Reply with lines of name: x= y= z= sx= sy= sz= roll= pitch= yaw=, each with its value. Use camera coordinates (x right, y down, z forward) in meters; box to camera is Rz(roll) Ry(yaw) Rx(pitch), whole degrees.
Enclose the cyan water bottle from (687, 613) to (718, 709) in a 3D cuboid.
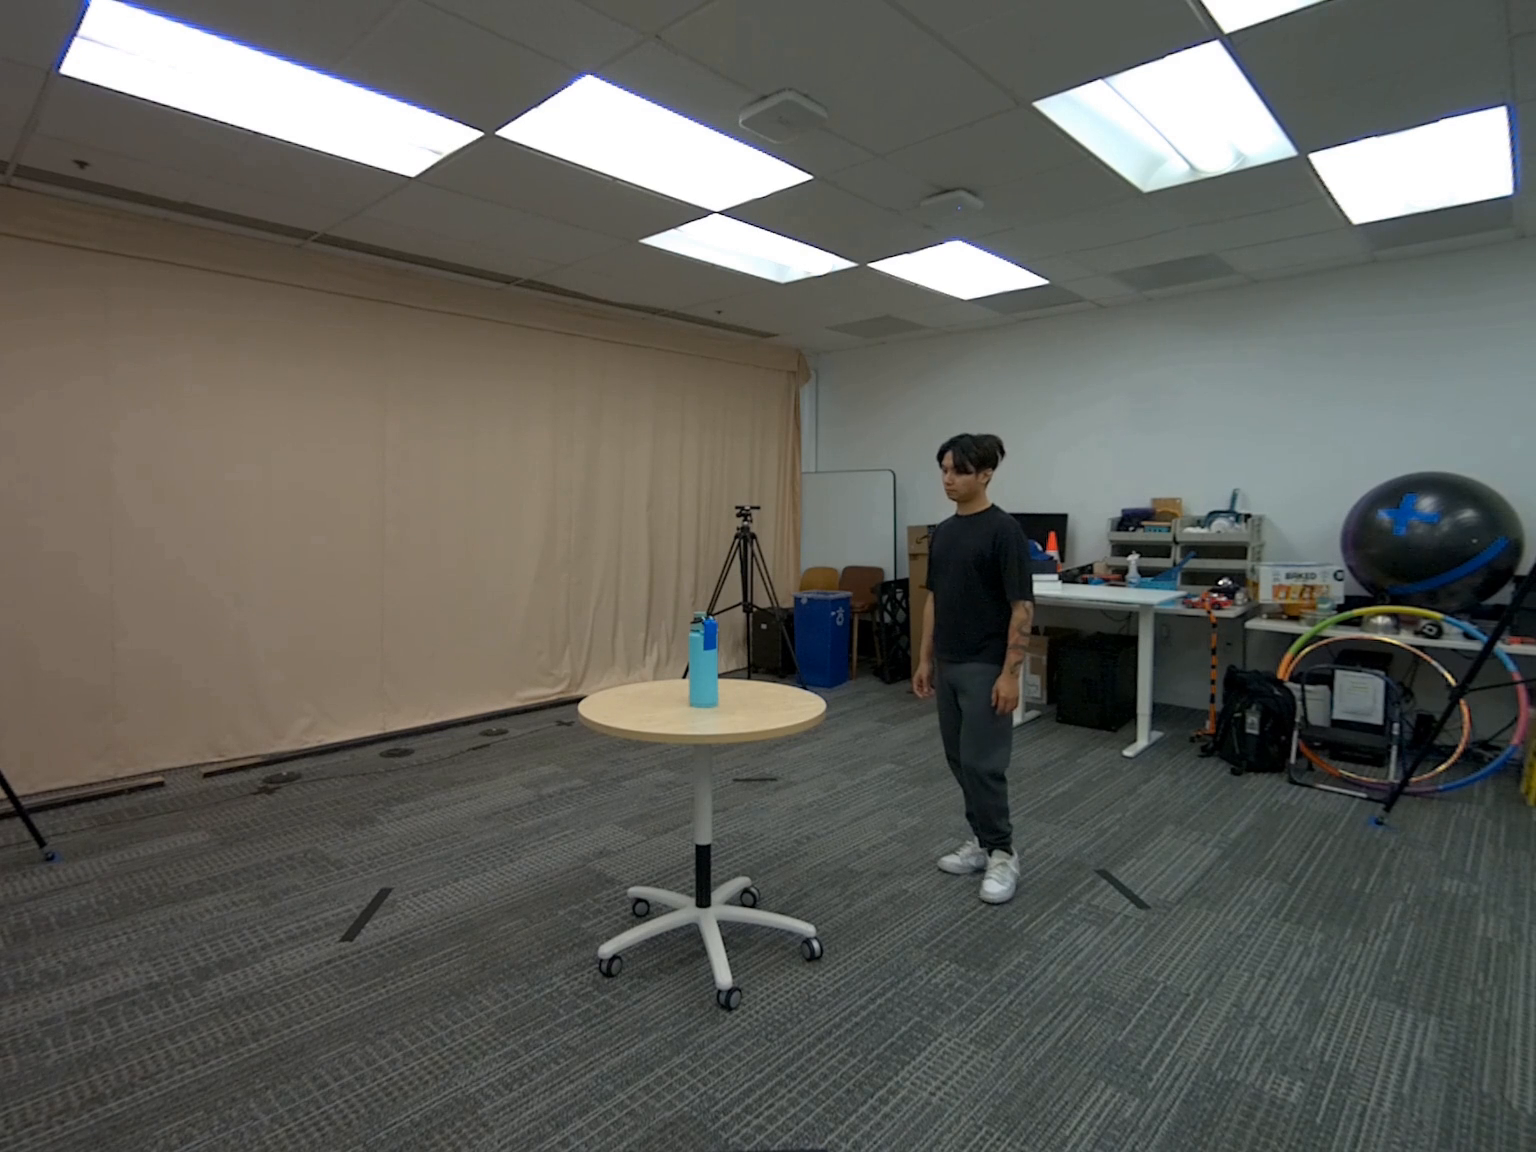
cyan water bottle: x=-0.197 y=0.257 z=2.575 sx=0.092 sy=0.283 sz=0.092 roll=1 pitch=3 yaw=-2
